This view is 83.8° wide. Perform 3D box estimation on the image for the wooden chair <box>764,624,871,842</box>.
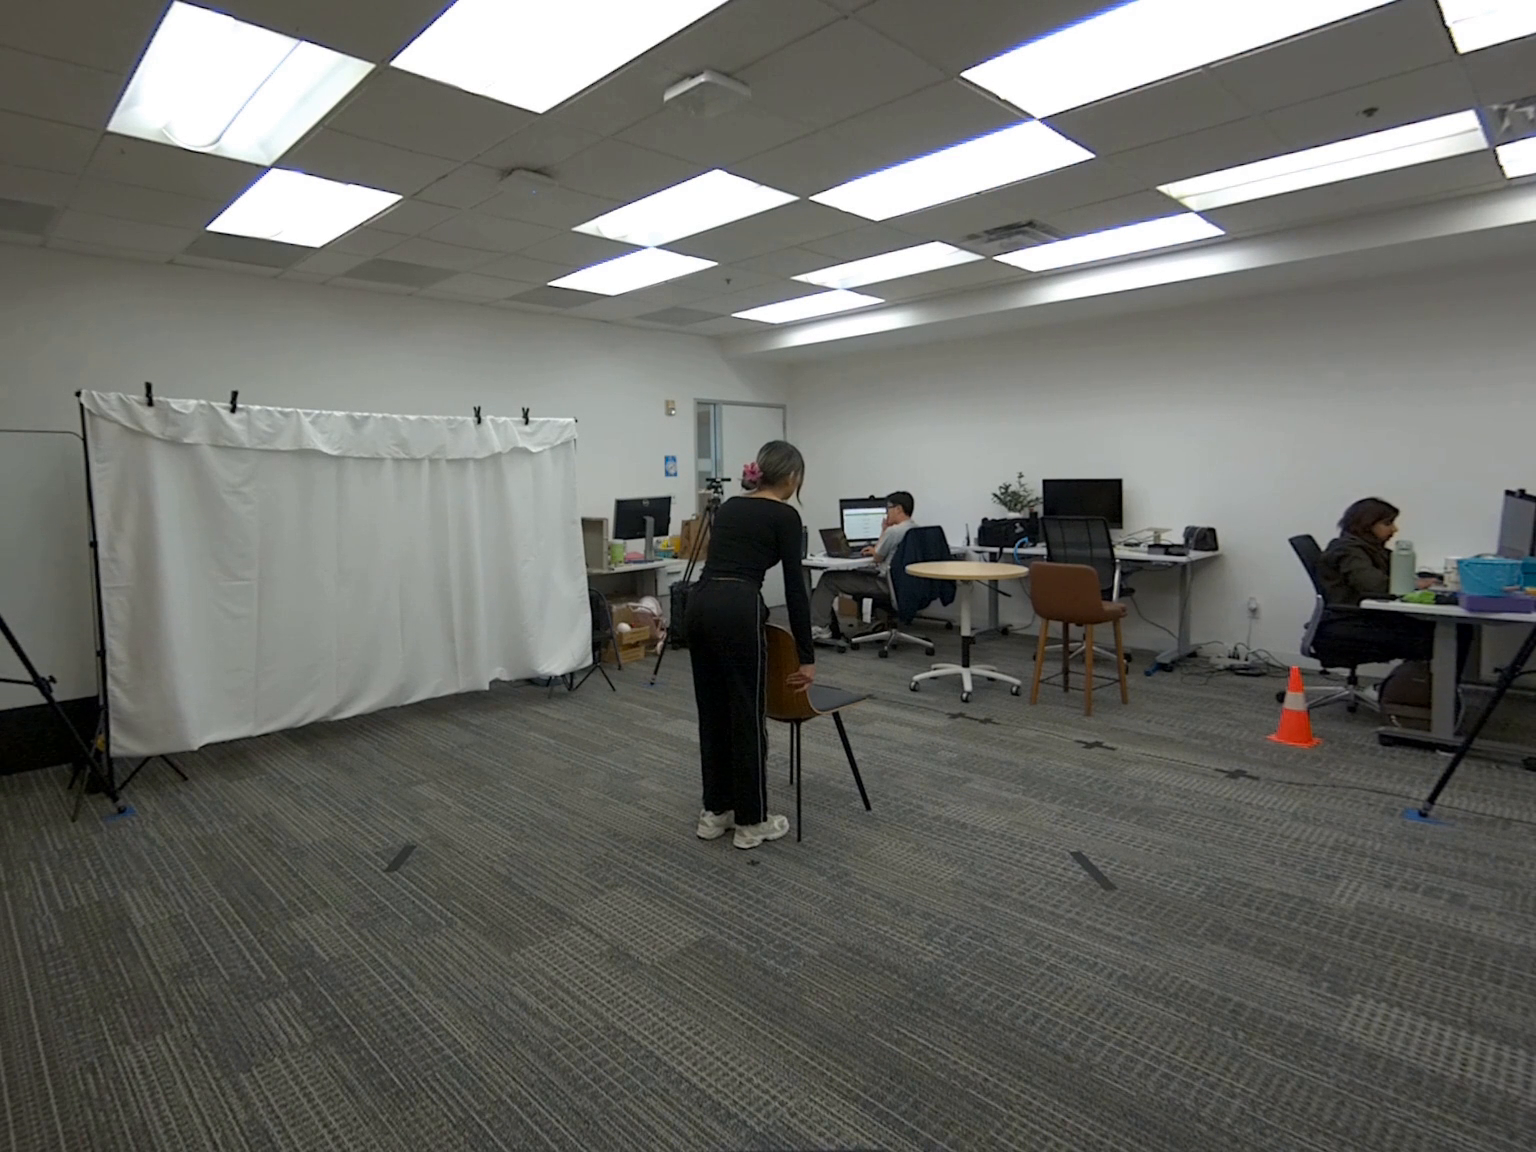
[{"bbox_3d":[0.114,0.558,3.566,0.511,0.871,0.493,-12,10,-44],"label":"wooden chair"}]
